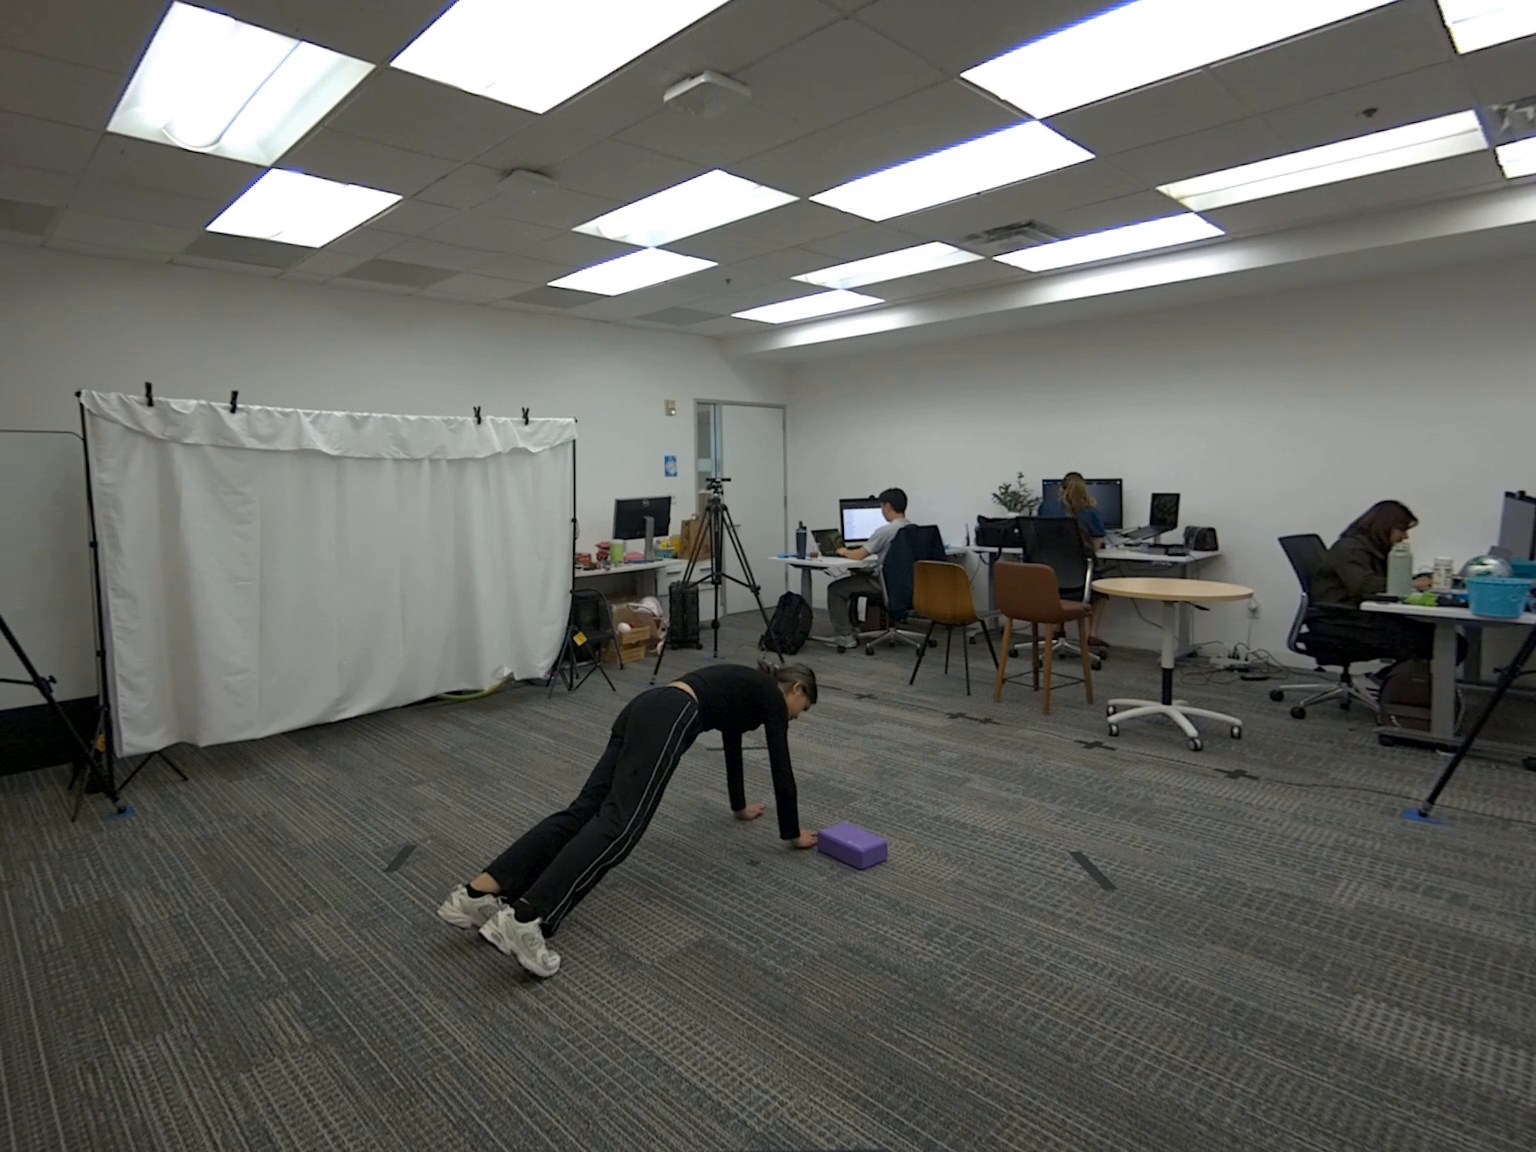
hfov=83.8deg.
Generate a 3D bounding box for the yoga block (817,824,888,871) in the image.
[{"bbox_3d":[0.312,0.990,3.151,0.145,0.076,0.236,-4,7,-38],"label":"yoga block"}]
